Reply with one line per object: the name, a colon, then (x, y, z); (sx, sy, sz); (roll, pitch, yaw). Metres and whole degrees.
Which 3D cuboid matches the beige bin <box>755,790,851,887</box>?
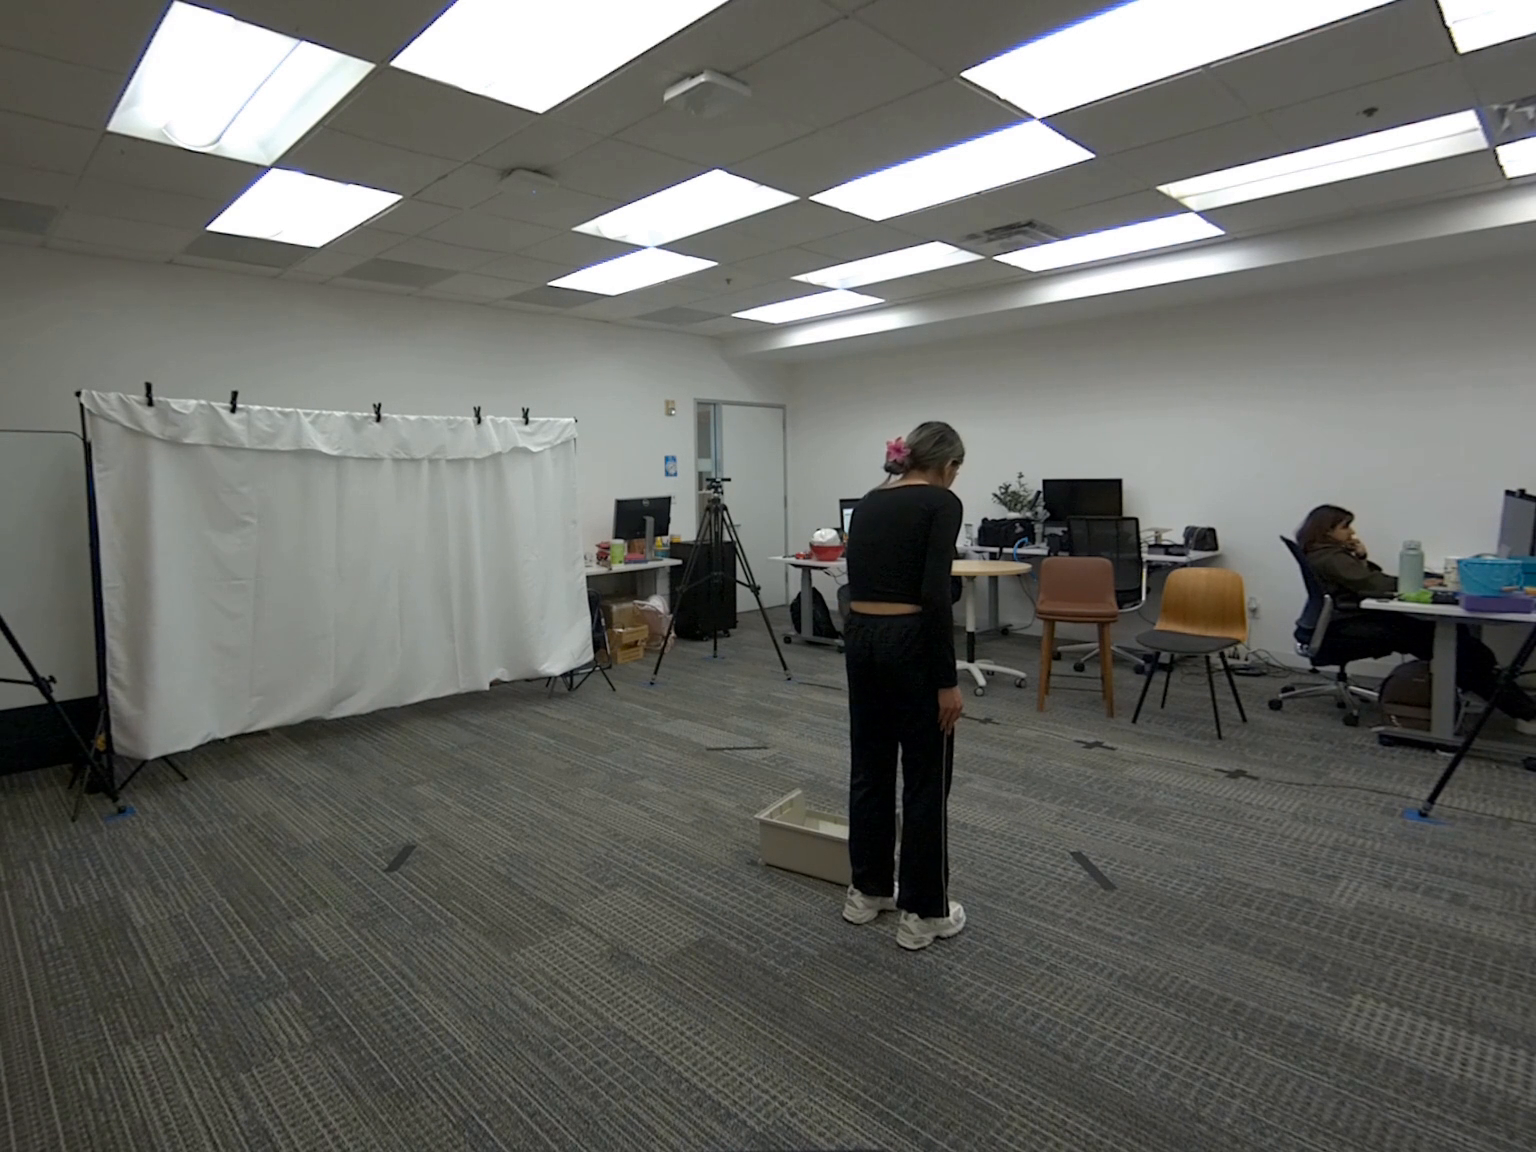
beige bin: (0.227, 0.951, 3.122); (0.434, 0.188, 0.369); (4, 8, 32)
